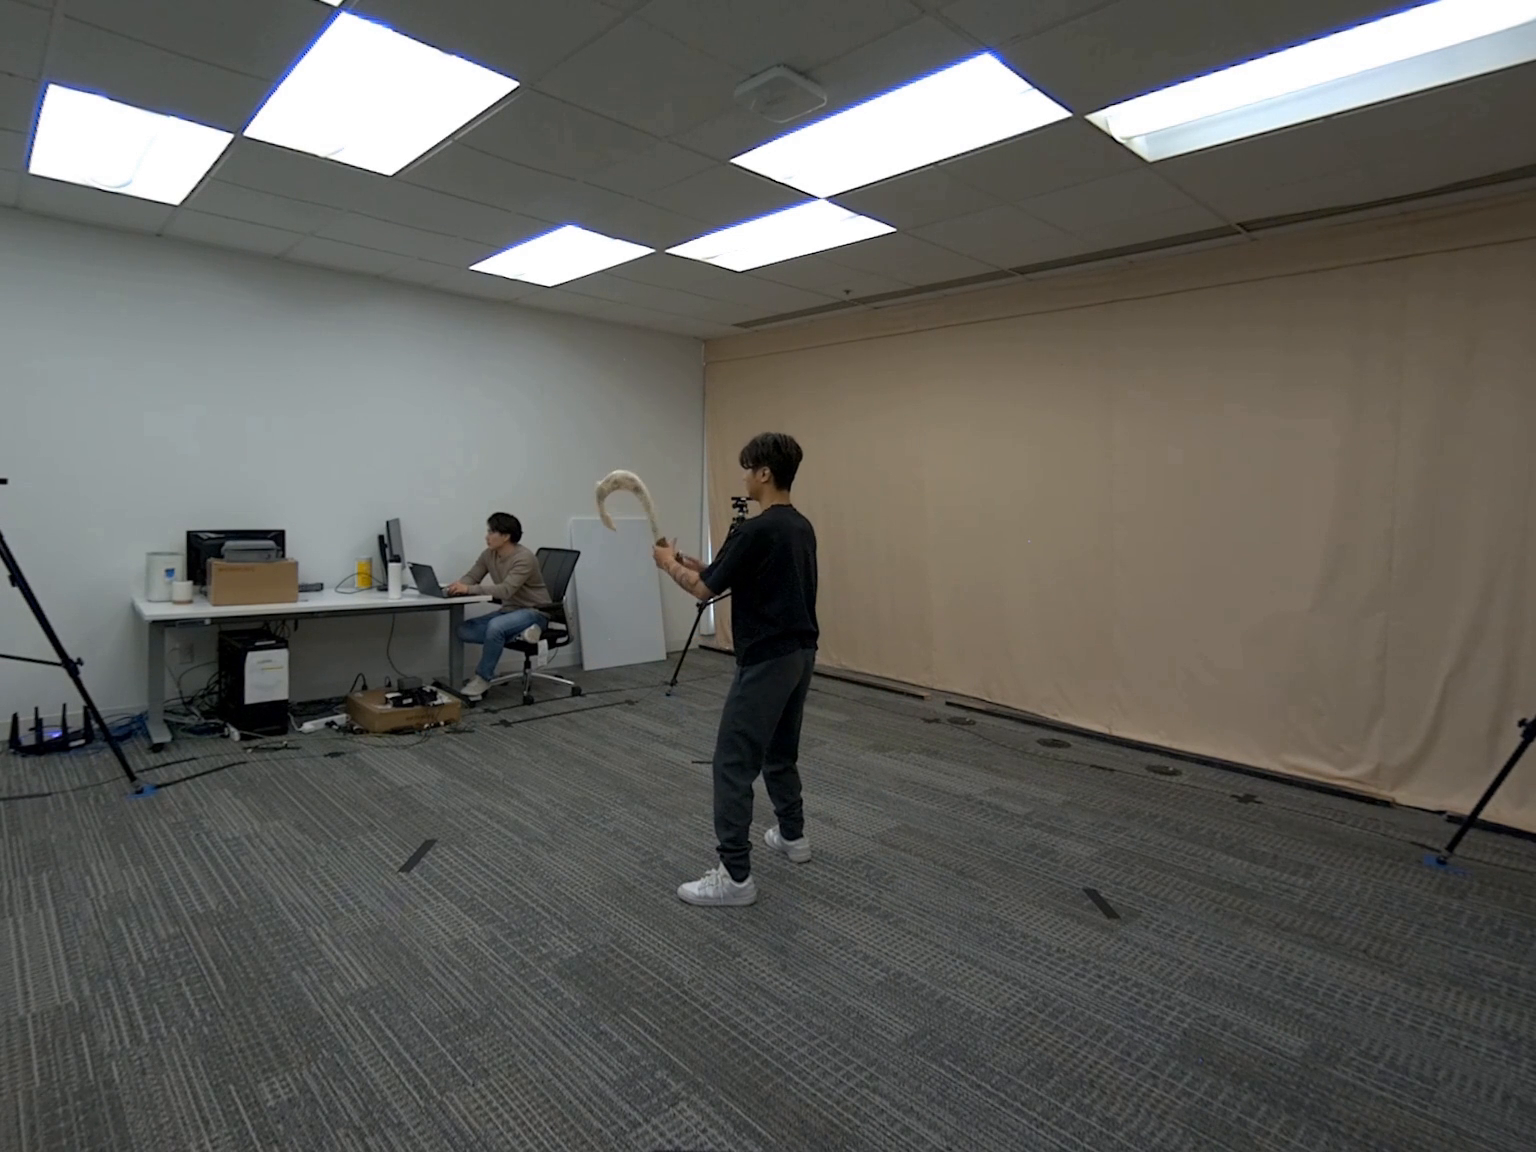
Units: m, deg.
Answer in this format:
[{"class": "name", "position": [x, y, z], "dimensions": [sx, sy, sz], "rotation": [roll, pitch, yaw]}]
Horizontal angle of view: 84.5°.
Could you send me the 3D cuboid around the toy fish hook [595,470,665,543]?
[{"class": "toy fish hook", "position": [-0.470, -0.126, 3.186], "dimensions": [0.226, 0.505, 0.048], "rotation": [-31, 3, 22]}]
